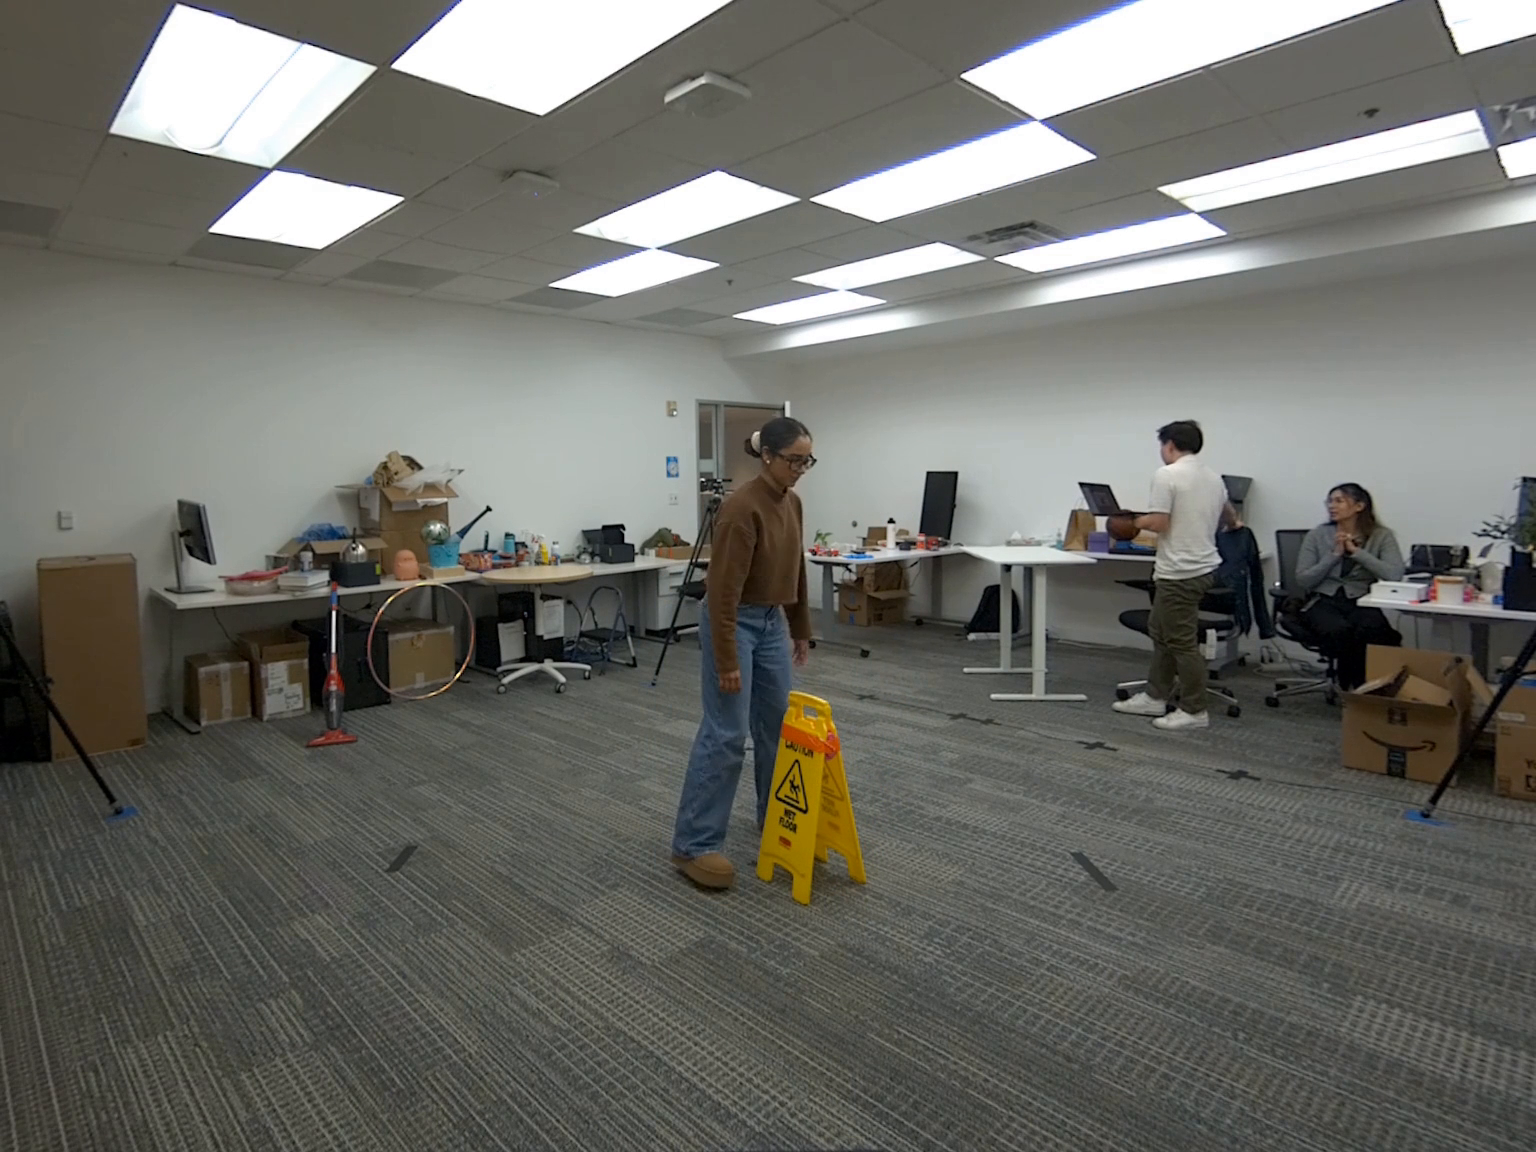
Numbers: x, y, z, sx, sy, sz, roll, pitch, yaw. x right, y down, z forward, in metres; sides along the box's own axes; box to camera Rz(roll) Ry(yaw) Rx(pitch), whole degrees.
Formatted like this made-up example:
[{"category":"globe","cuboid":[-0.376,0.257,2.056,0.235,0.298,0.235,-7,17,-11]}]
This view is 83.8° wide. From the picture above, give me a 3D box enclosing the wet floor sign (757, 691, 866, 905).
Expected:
[{"category":"wet floor sign","cuboid":[0.148,0.736,2.948,0.282,0.644,0.290,-4,5,-35]}]
